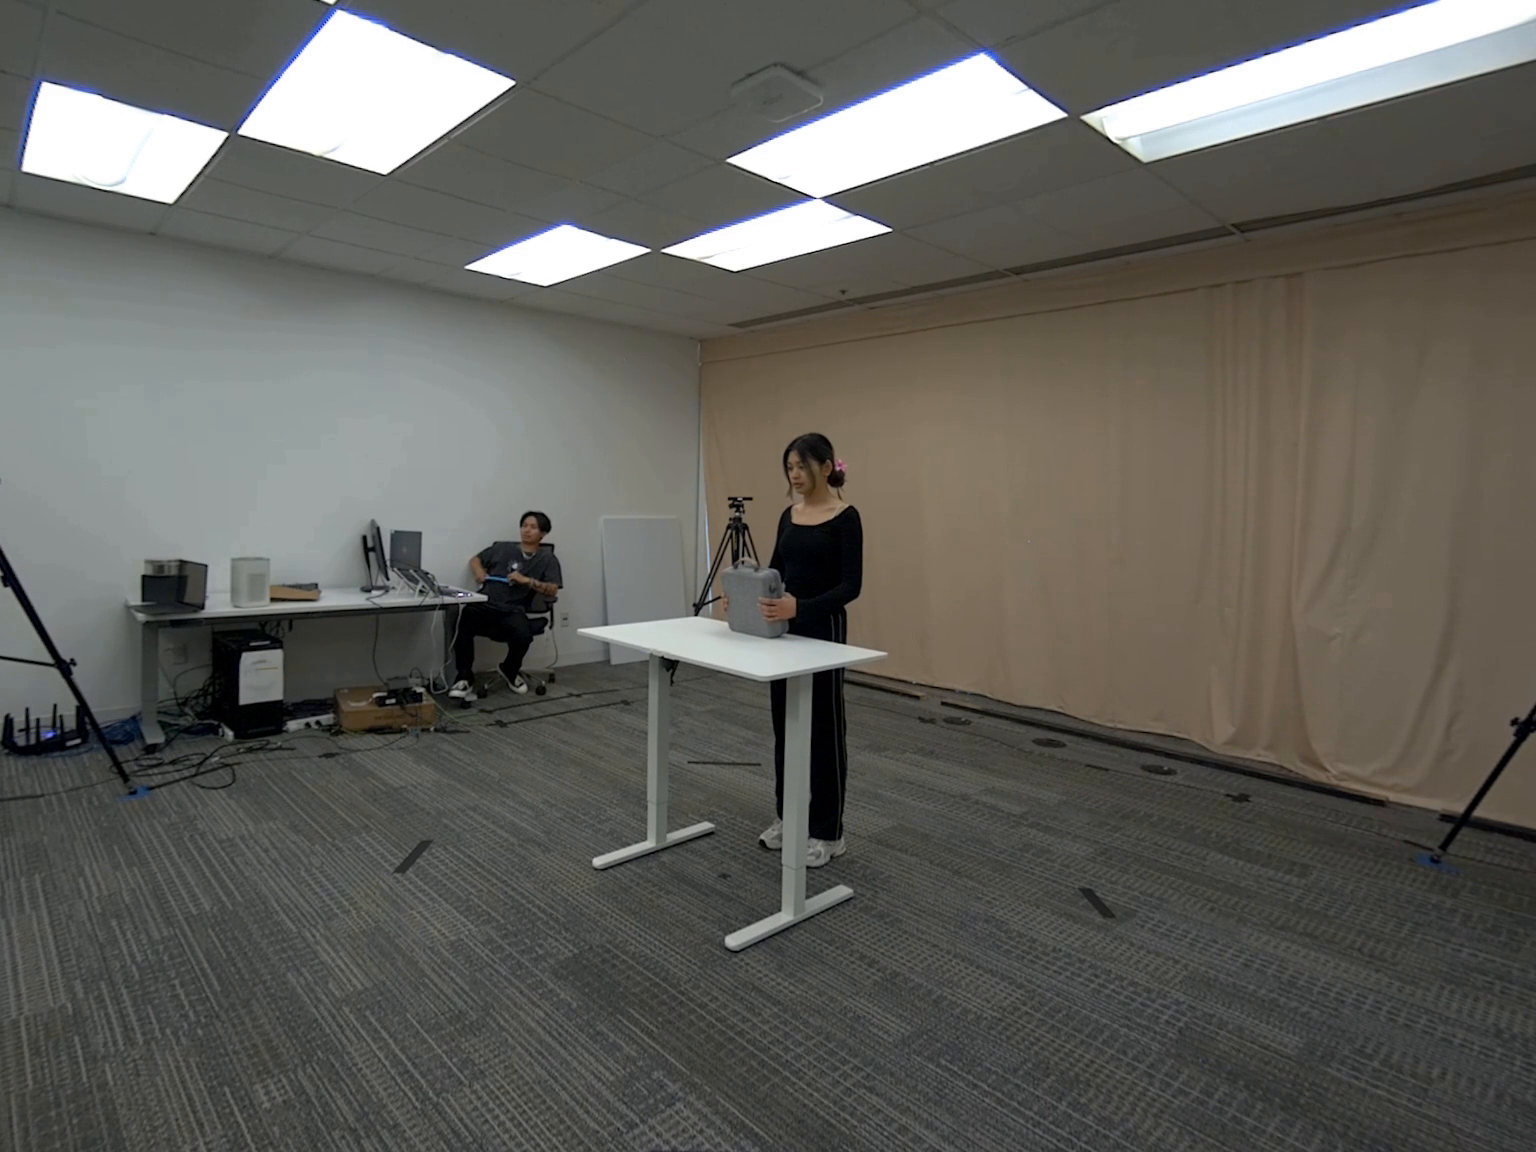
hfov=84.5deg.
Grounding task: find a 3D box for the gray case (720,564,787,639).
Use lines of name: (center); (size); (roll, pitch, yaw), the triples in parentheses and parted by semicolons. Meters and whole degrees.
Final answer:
gray case: (-0.054, 0.088, 3.156); (0.102, 0.258, 0.263); (-16, 14, -36)
